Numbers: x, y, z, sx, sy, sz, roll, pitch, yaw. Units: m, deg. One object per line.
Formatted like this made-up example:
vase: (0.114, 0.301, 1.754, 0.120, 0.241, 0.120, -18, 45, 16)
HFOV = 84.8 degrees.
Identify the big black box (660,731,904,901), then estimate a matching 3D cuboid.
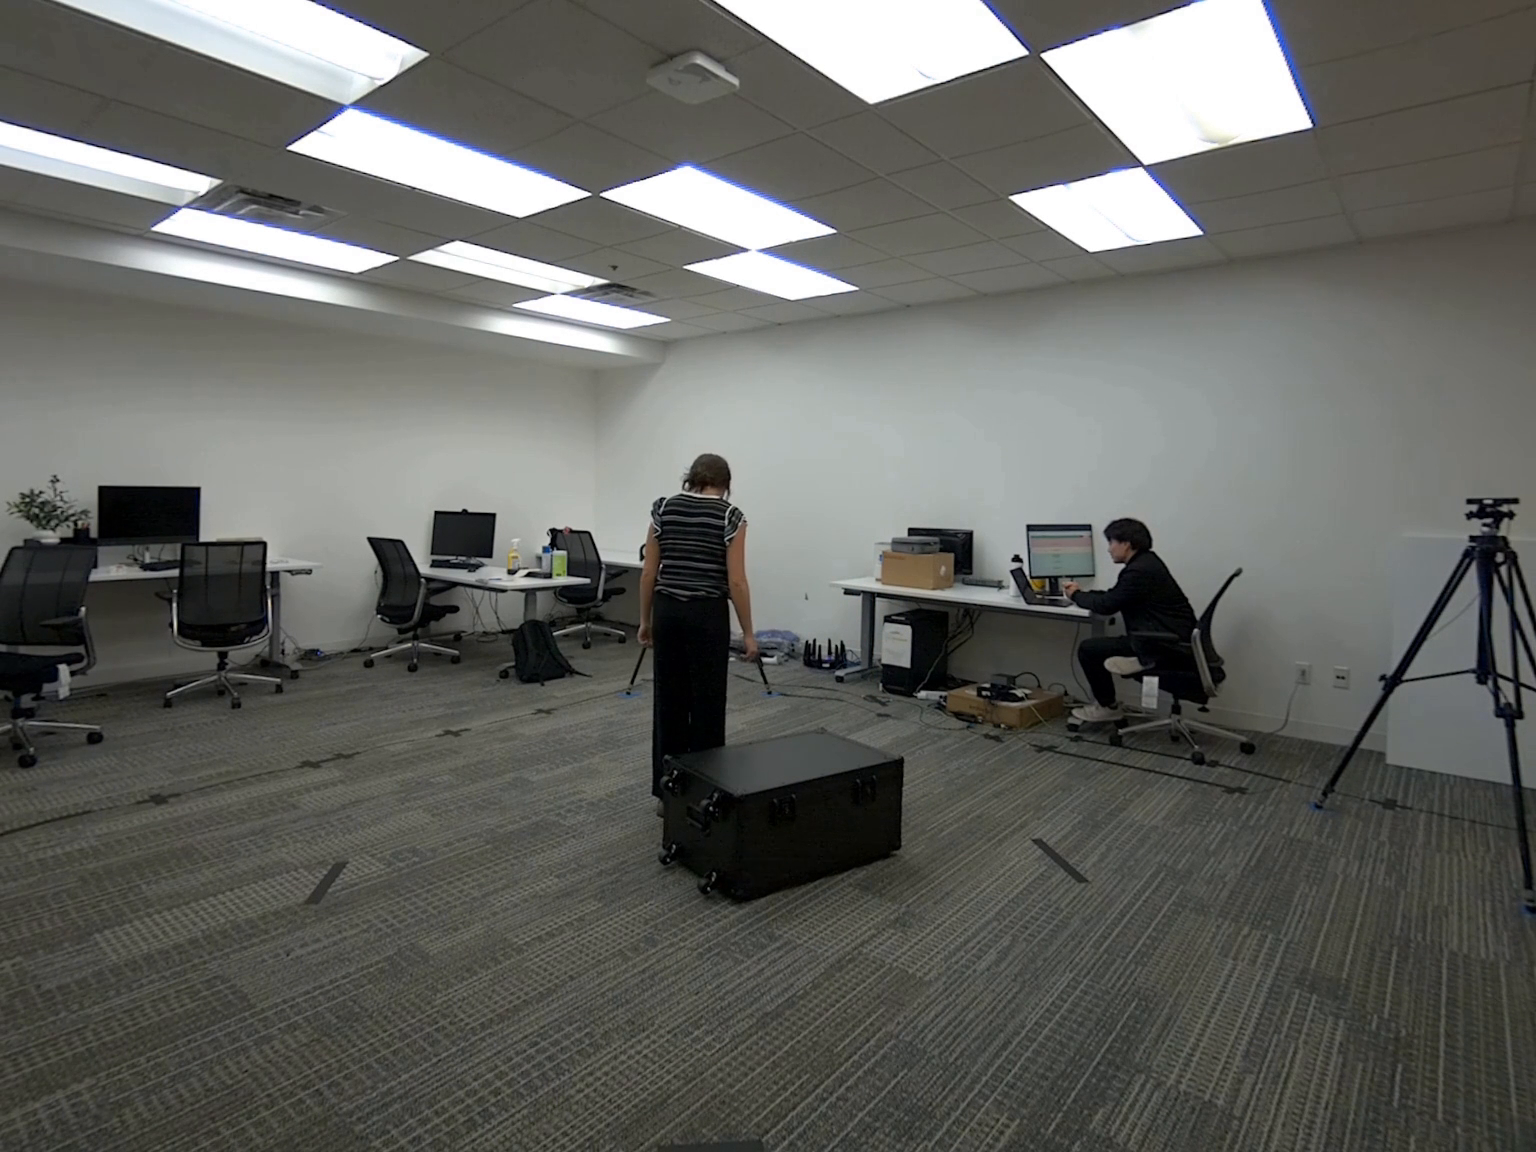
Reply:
big black box: (0.026, 0.870, 3.212, 0.836, 0.395, 0.538, -2, 5, -36)
